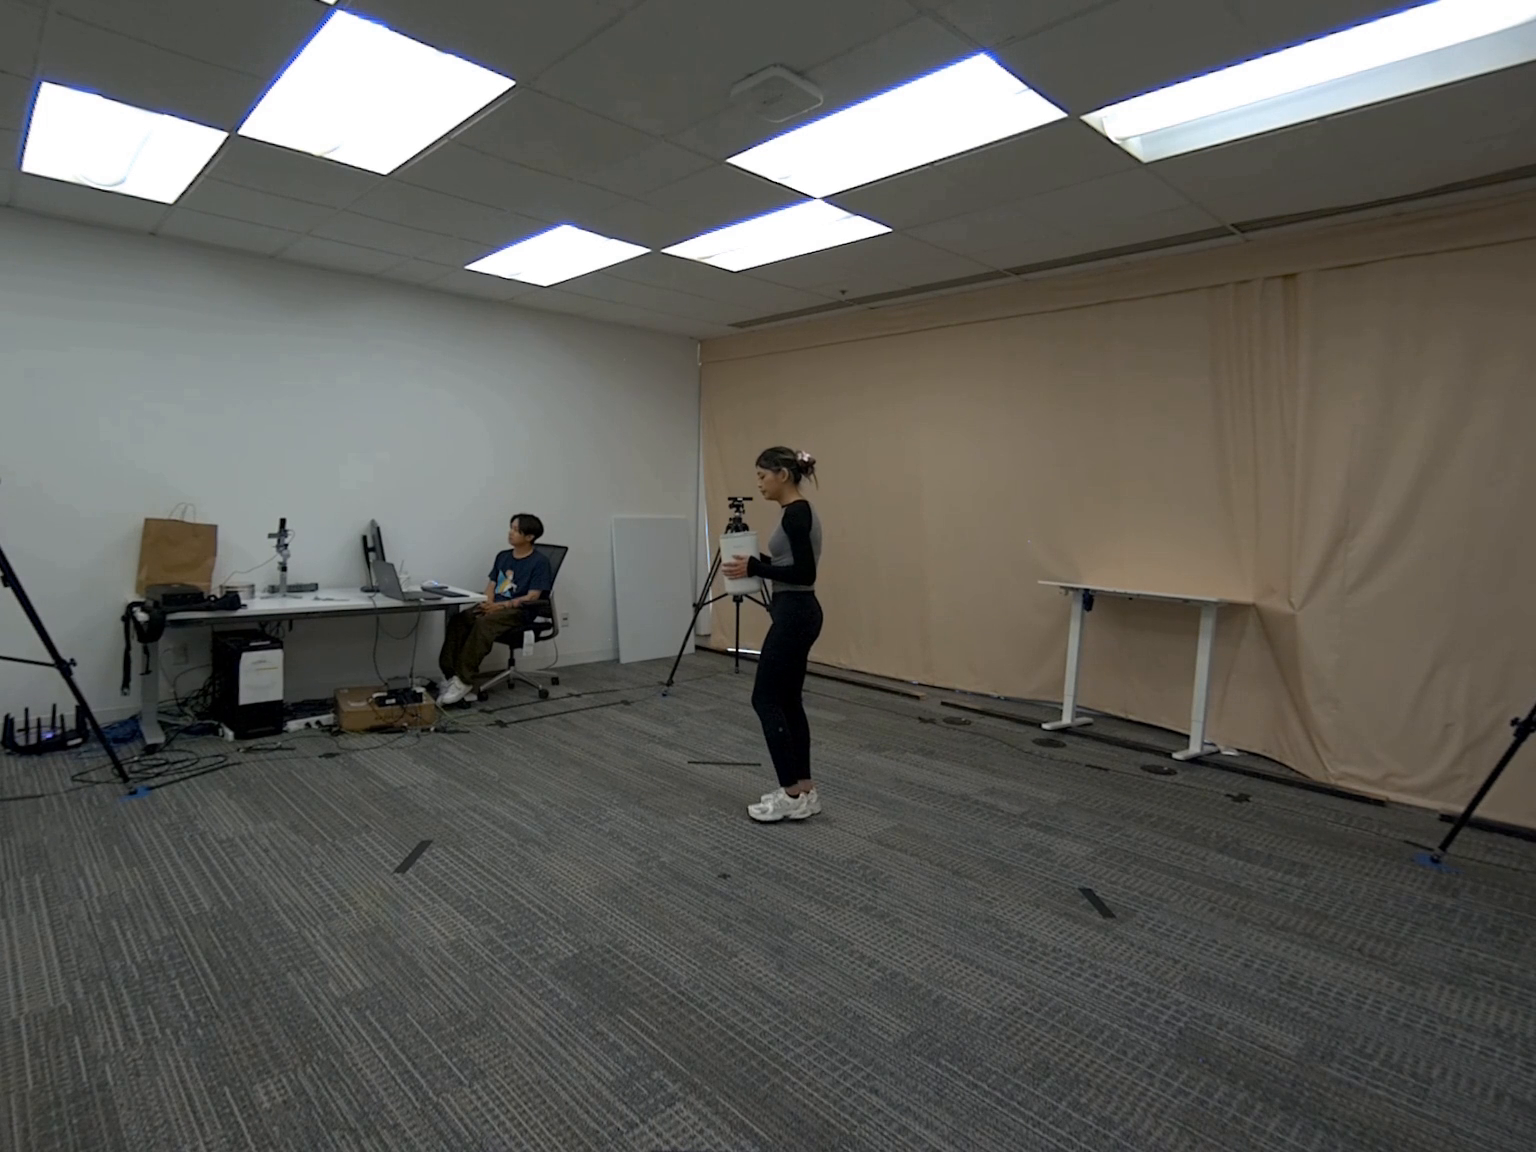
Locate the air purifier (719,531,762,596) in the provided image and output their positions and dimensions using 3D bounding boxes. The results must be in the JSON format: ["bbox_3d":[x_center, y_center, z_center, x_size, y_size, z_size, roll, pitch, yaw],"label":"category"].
[{"bbox_3d":[-0.127,-0.057,3.758,0.171,0.264,0.173,-7,8,-3],"label":"air purifier"}]
